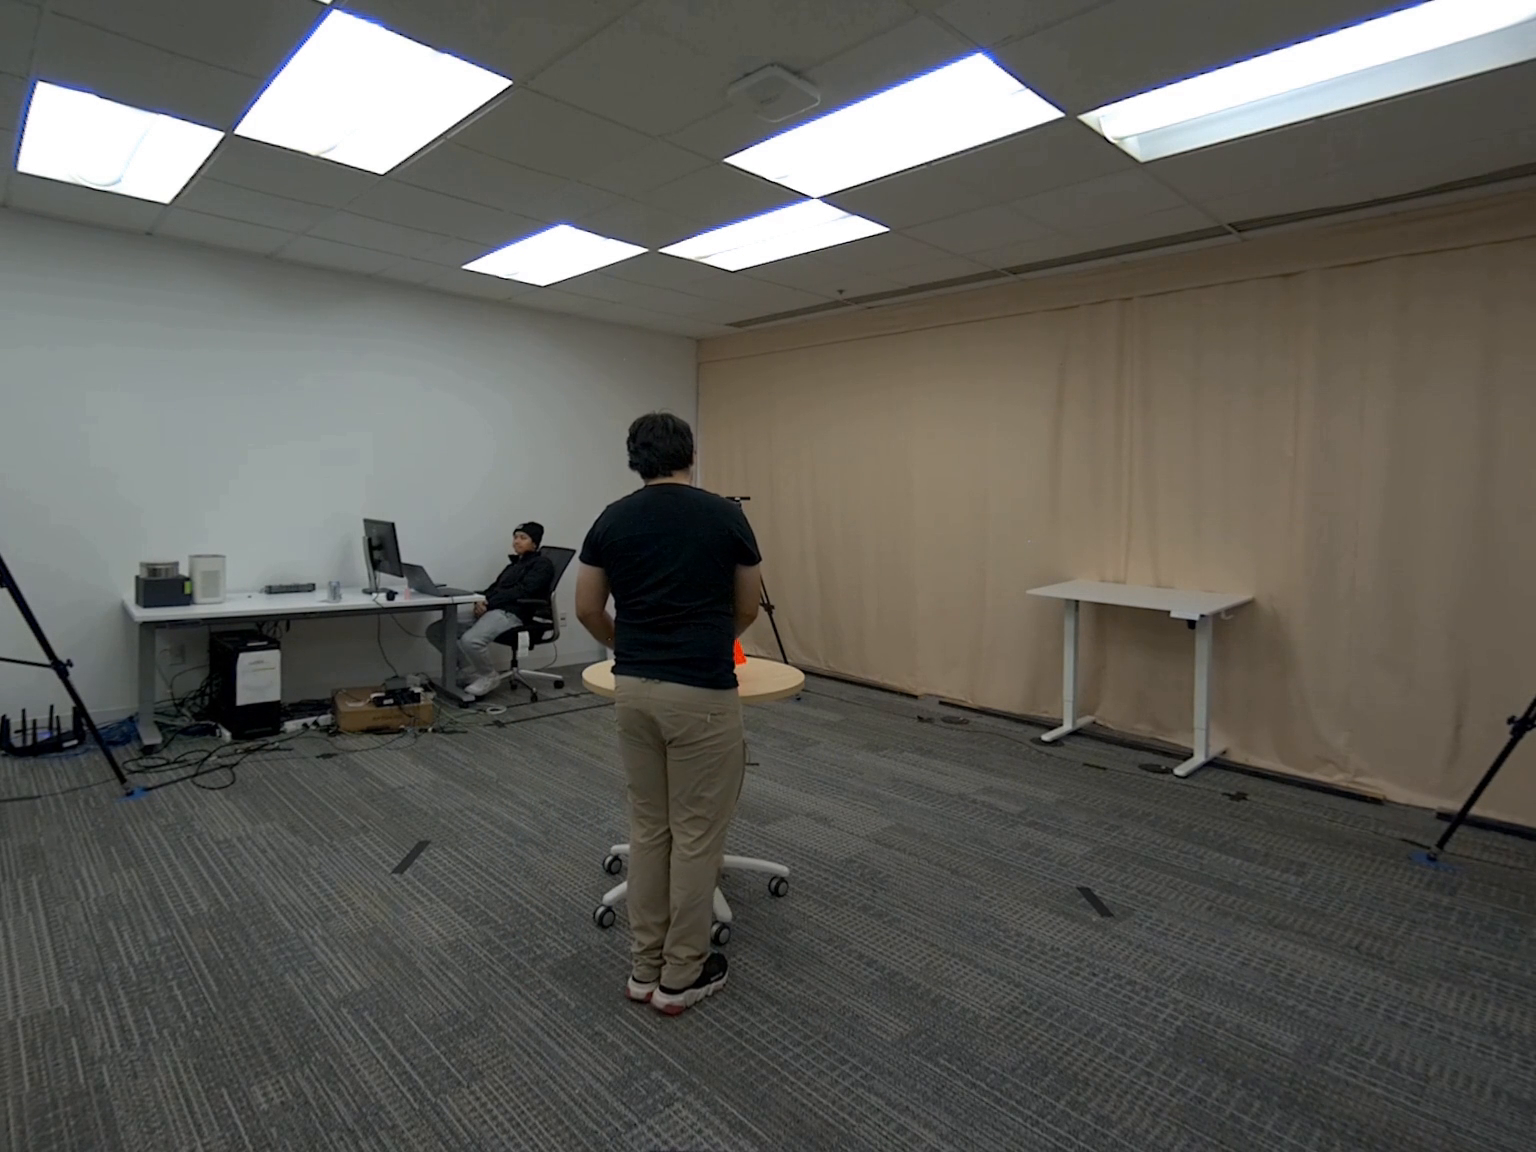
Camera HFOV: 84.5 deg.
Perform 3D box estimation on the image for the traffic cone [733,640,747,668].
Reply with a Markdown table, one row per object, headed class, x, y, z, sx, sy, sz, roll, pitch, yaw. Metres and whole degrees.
| class | x | y | z | sx | sy | sz | roll | pitch | yaw |
| --- | --- | --- | --- | --- | --- | --- | --- | --- | --- |
| traffic cone | -0.298 | 0.285 | 2.756 | 0.208 | 0.203 | 0.379 | -22 | 2 | 45 |
